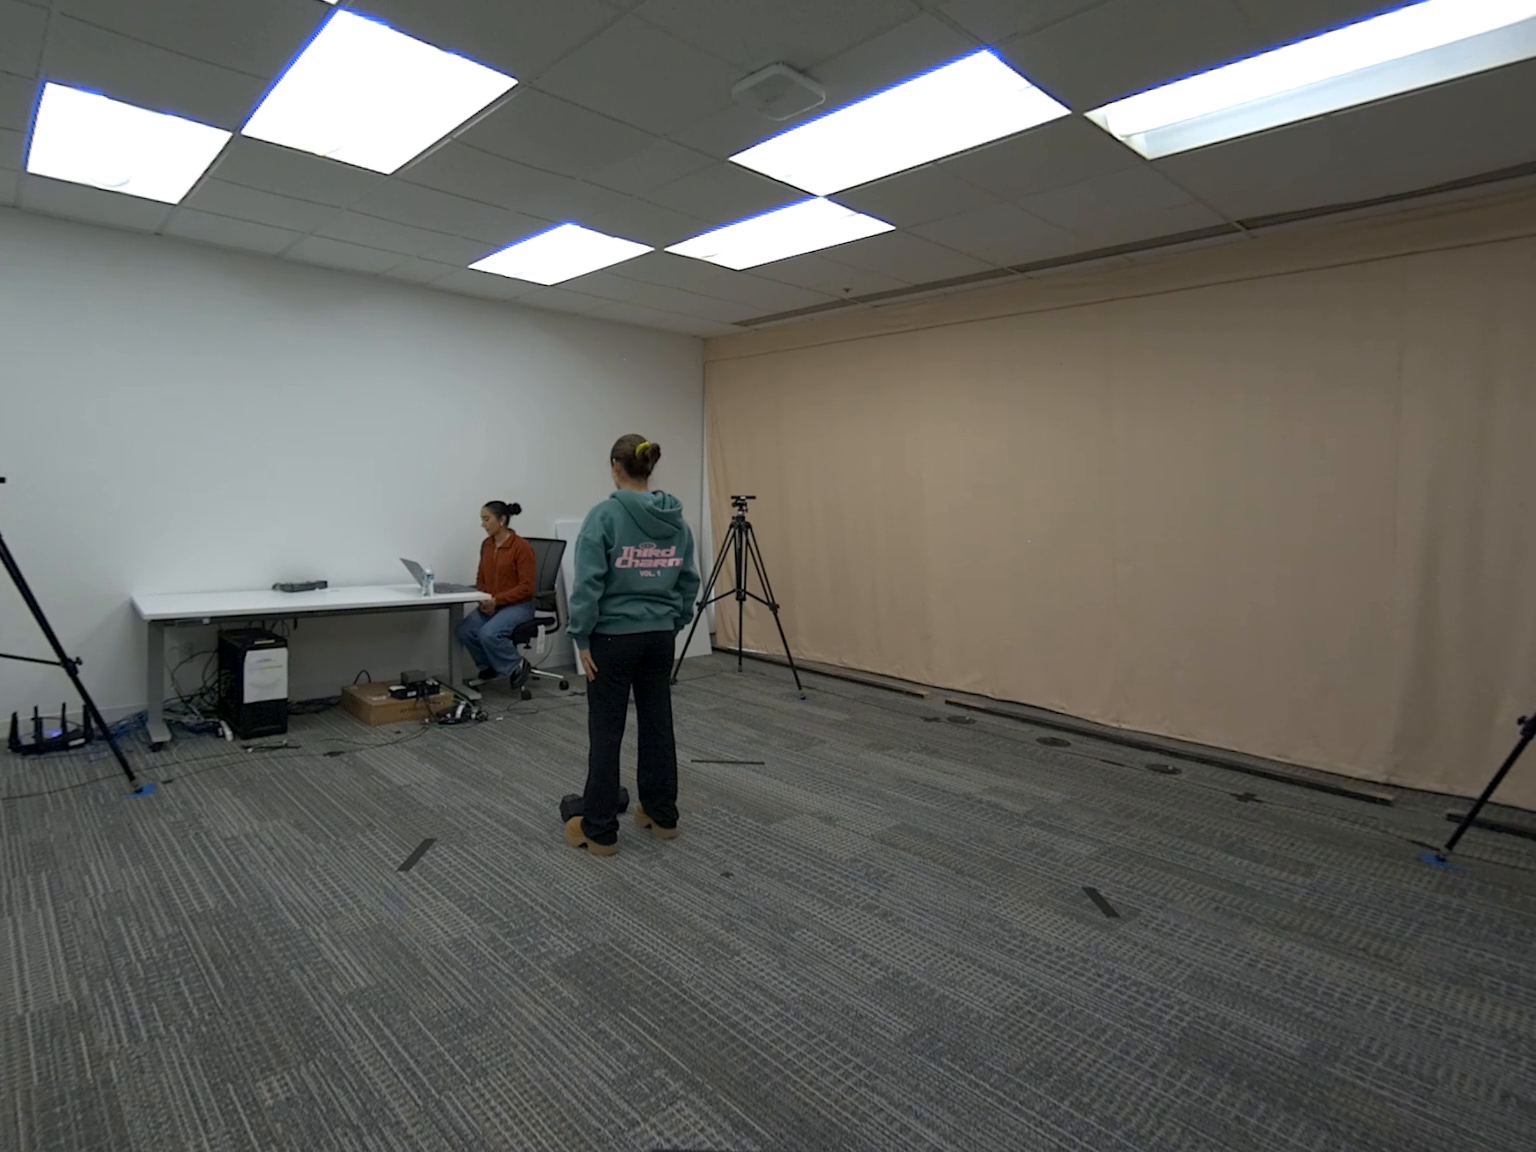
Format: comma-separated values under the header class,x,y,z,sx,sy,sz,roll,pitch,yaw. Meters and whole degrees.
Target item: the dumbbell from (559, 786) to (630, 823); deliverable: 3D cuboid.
class,x,y,z,sx,sy,sz,roll,pitch,yaw
dumbbell,-0.753,0.987,3.640,0.287,0.125,0.109,-3,-25,-39
